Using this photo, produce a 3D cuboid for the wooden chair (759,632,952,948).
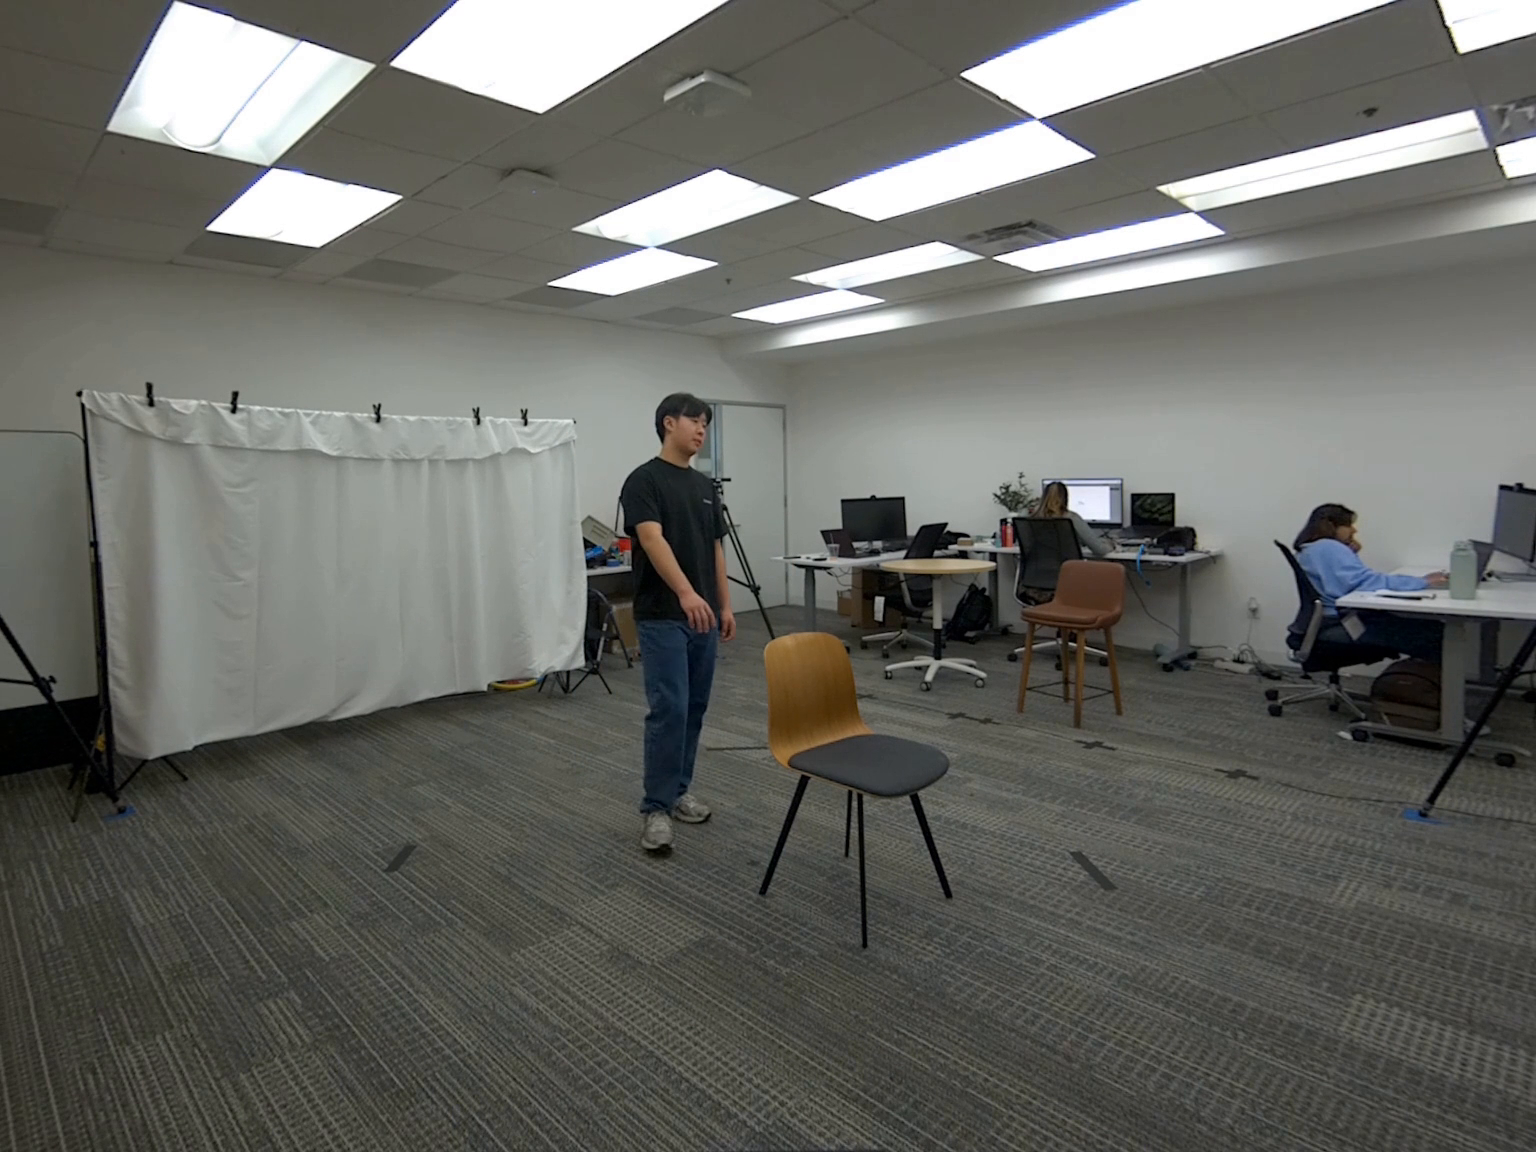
[{"bbox_3d":[0.292,0.643,2.804,0.465,0.877,0.538,-5,1,-43],"label":"wooden chair"}]
